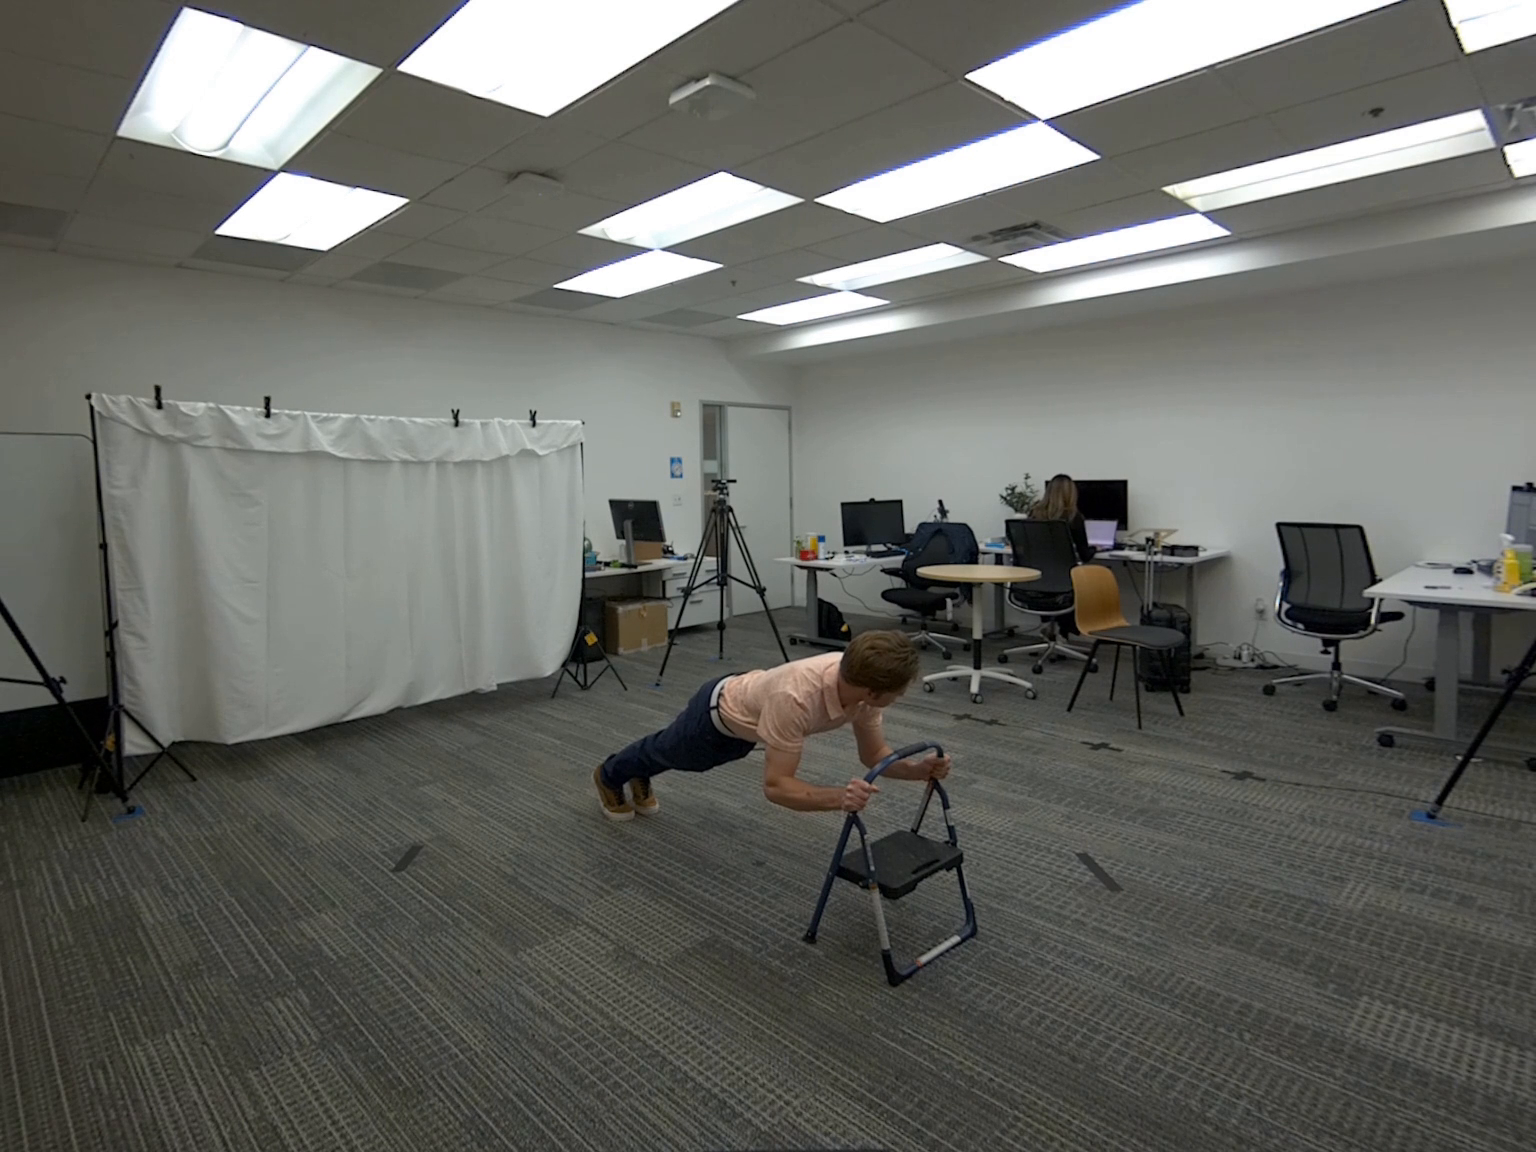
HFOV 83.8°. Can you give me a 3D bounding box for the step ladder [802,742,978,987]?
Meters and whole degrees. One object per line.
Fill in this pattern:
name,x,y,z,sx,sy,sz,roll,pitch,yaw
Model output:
step ladder,0.376,0.800,2.580,0.419,0.604,0.360,-5,6,-43
